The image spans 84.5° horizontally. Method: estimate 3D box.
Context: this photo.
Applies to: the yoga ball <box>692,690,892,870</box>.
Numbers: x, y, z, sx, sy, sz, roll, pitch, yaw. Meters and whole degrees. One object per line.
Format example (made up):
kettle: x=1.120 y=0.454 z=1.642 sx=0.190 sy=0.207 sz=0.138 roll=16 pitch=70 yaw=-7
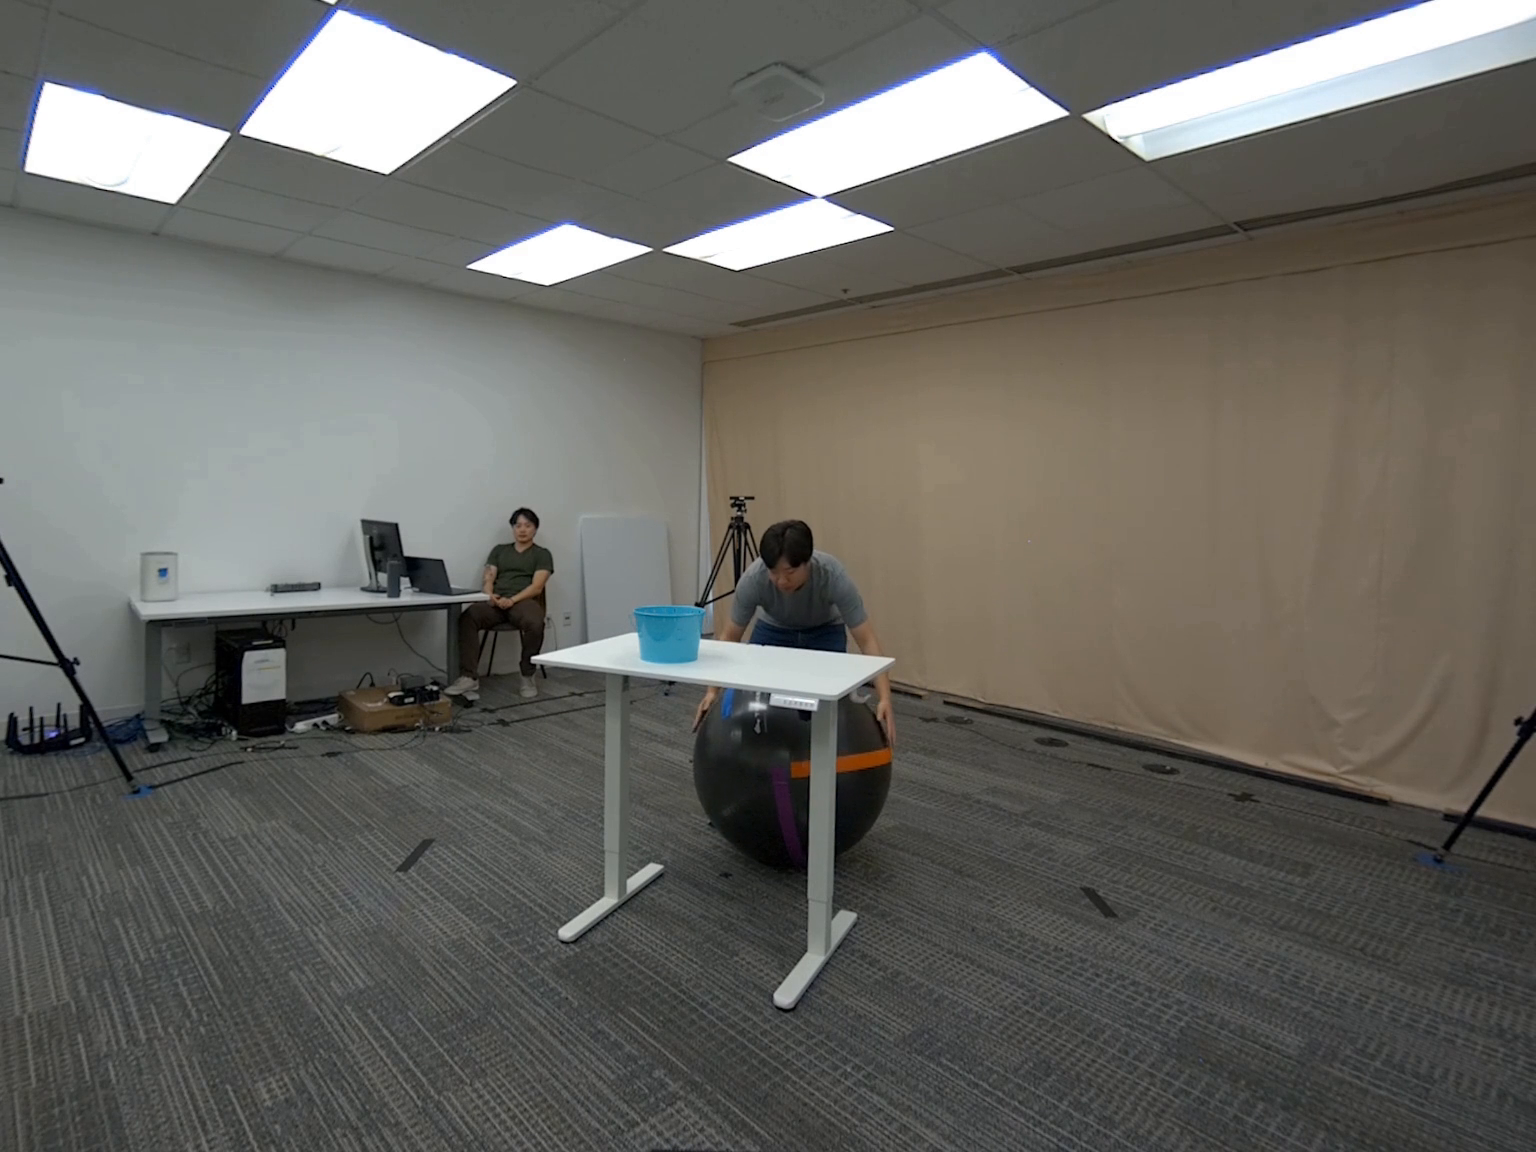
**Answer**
yoga ball: x=0.090 y=0.723 z=3.251 sx=0.757 sy=0.756 sz=0.761 roll=1 pitch=4 yaw=-1
